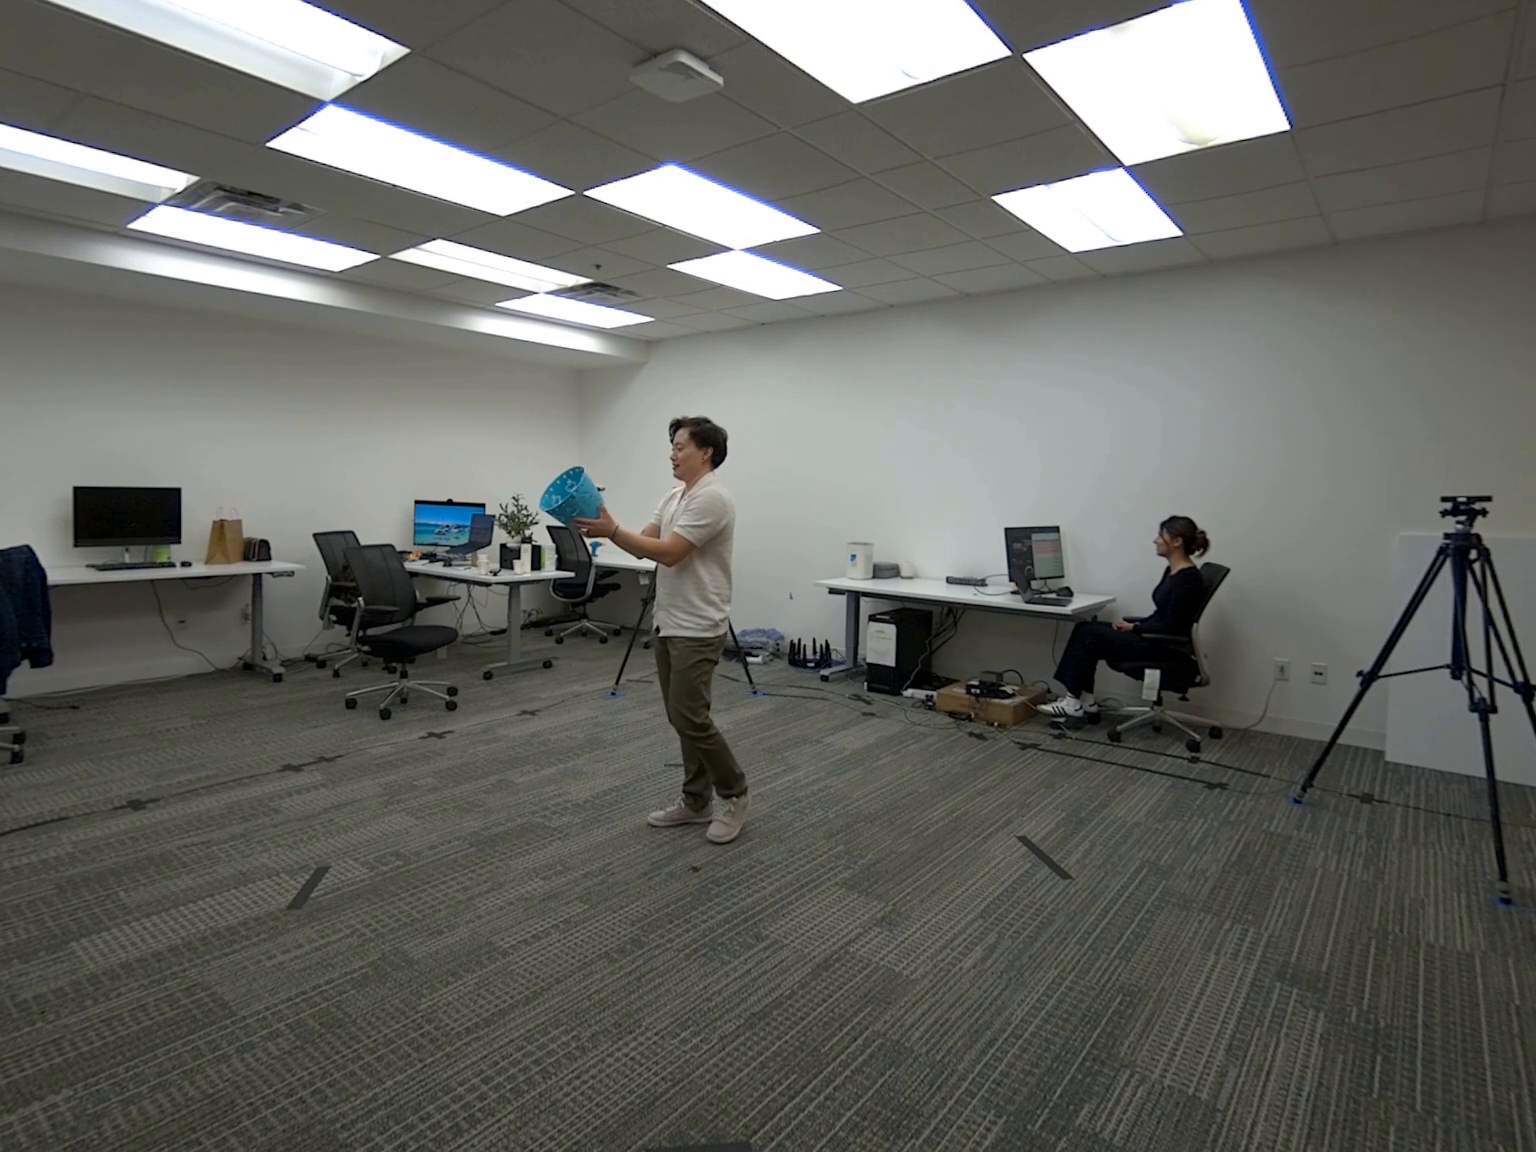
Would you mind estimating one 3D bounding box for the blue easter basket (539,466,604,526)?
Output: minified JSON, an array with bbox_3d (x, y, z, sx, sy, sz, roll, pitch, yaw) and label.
[{"bbox_3d":[-0.763,-0.302,3.315,0.252,0.245,0.150,6,-34,48],"label":"blue easter basket"}]
